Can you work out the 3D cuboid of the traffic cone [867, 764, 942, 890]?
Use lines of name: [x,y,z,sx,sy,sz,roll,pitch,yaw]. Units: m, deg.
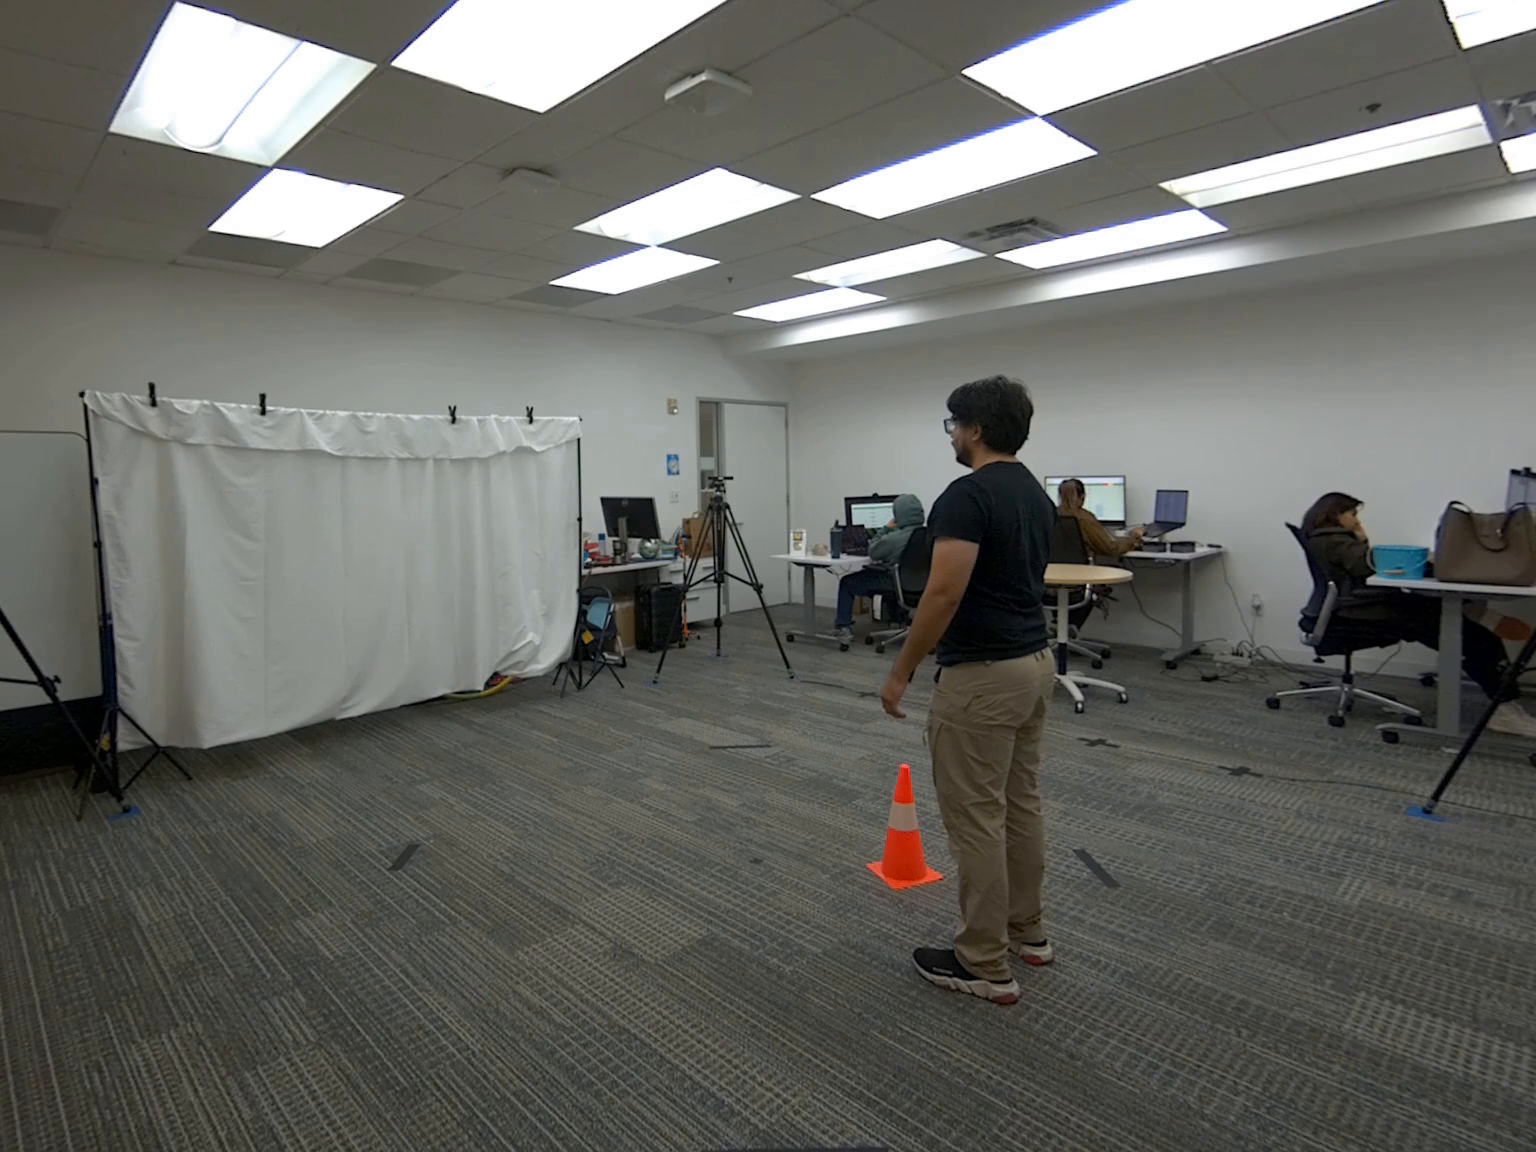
traffic cone: [0.486,0.859,2.981,0.199,0.382,0.210,-4,6,-25]
